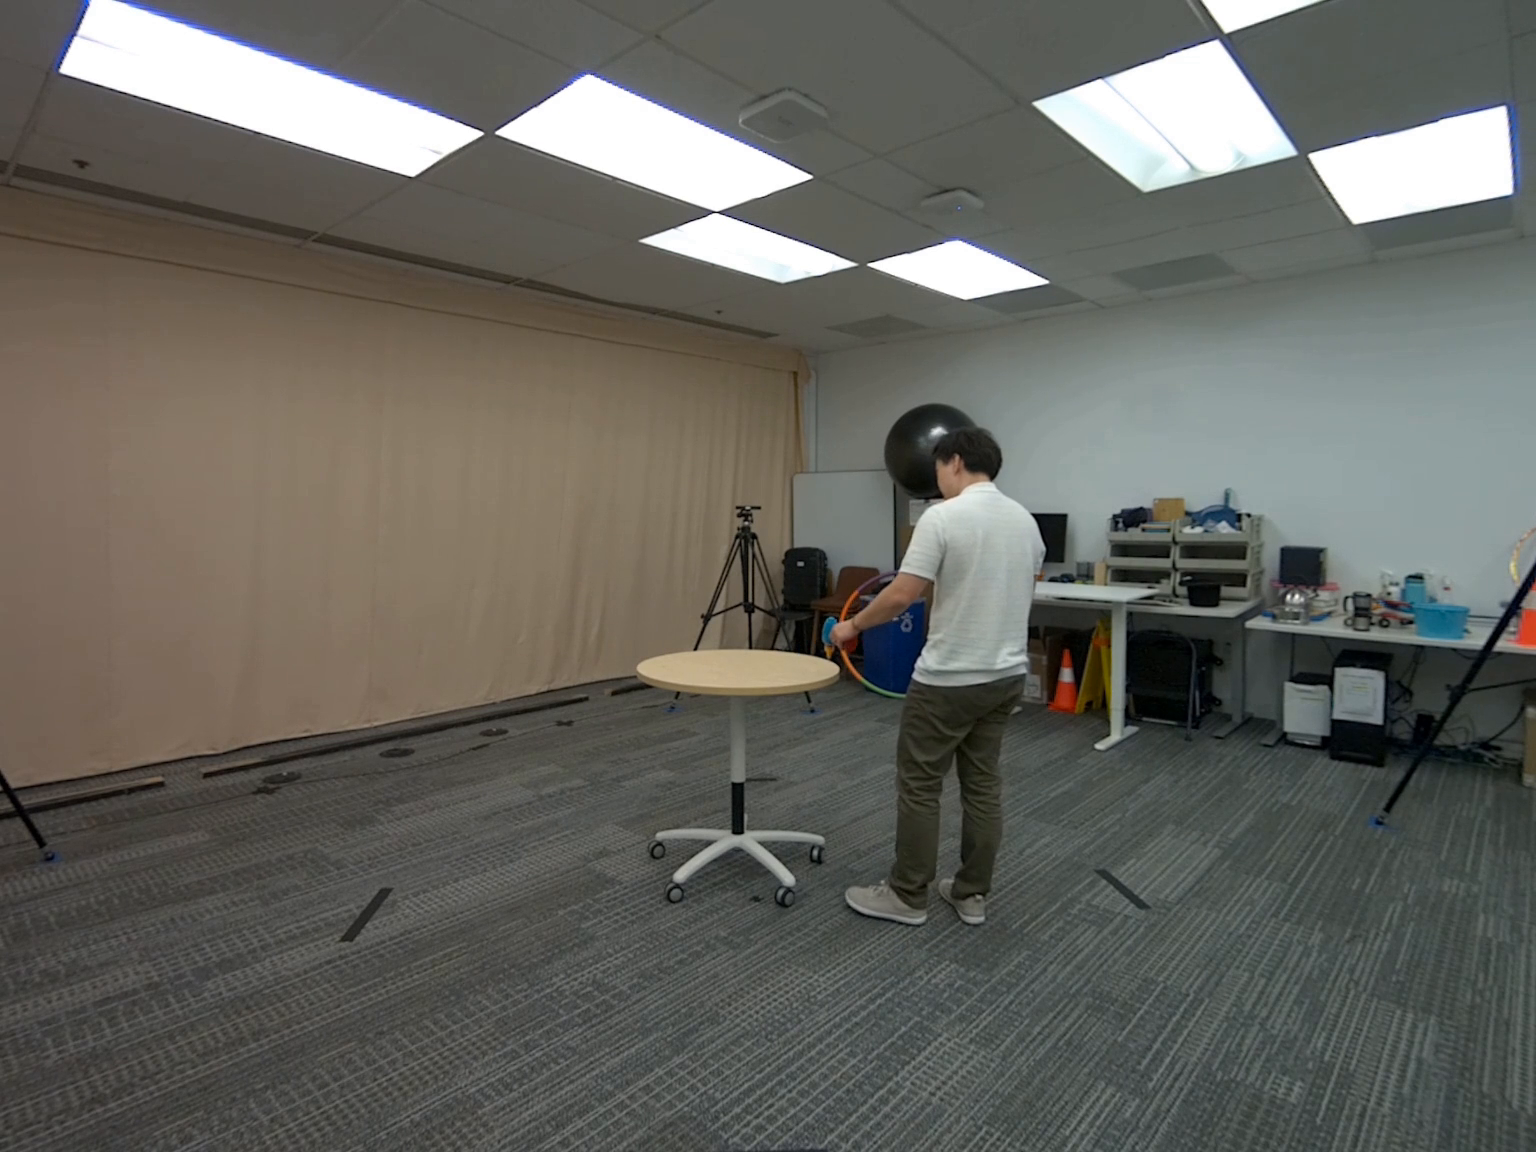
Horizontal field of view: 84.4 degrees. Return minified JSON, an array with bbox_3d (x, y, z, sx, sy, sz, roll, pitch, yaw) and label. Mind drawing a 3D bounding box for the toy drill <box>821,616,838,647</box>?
[{"bbox_3d":[0.241,0.245,2.992,0.060,0.168,0.149,1,24,-13],"label":"toy drill"}]
